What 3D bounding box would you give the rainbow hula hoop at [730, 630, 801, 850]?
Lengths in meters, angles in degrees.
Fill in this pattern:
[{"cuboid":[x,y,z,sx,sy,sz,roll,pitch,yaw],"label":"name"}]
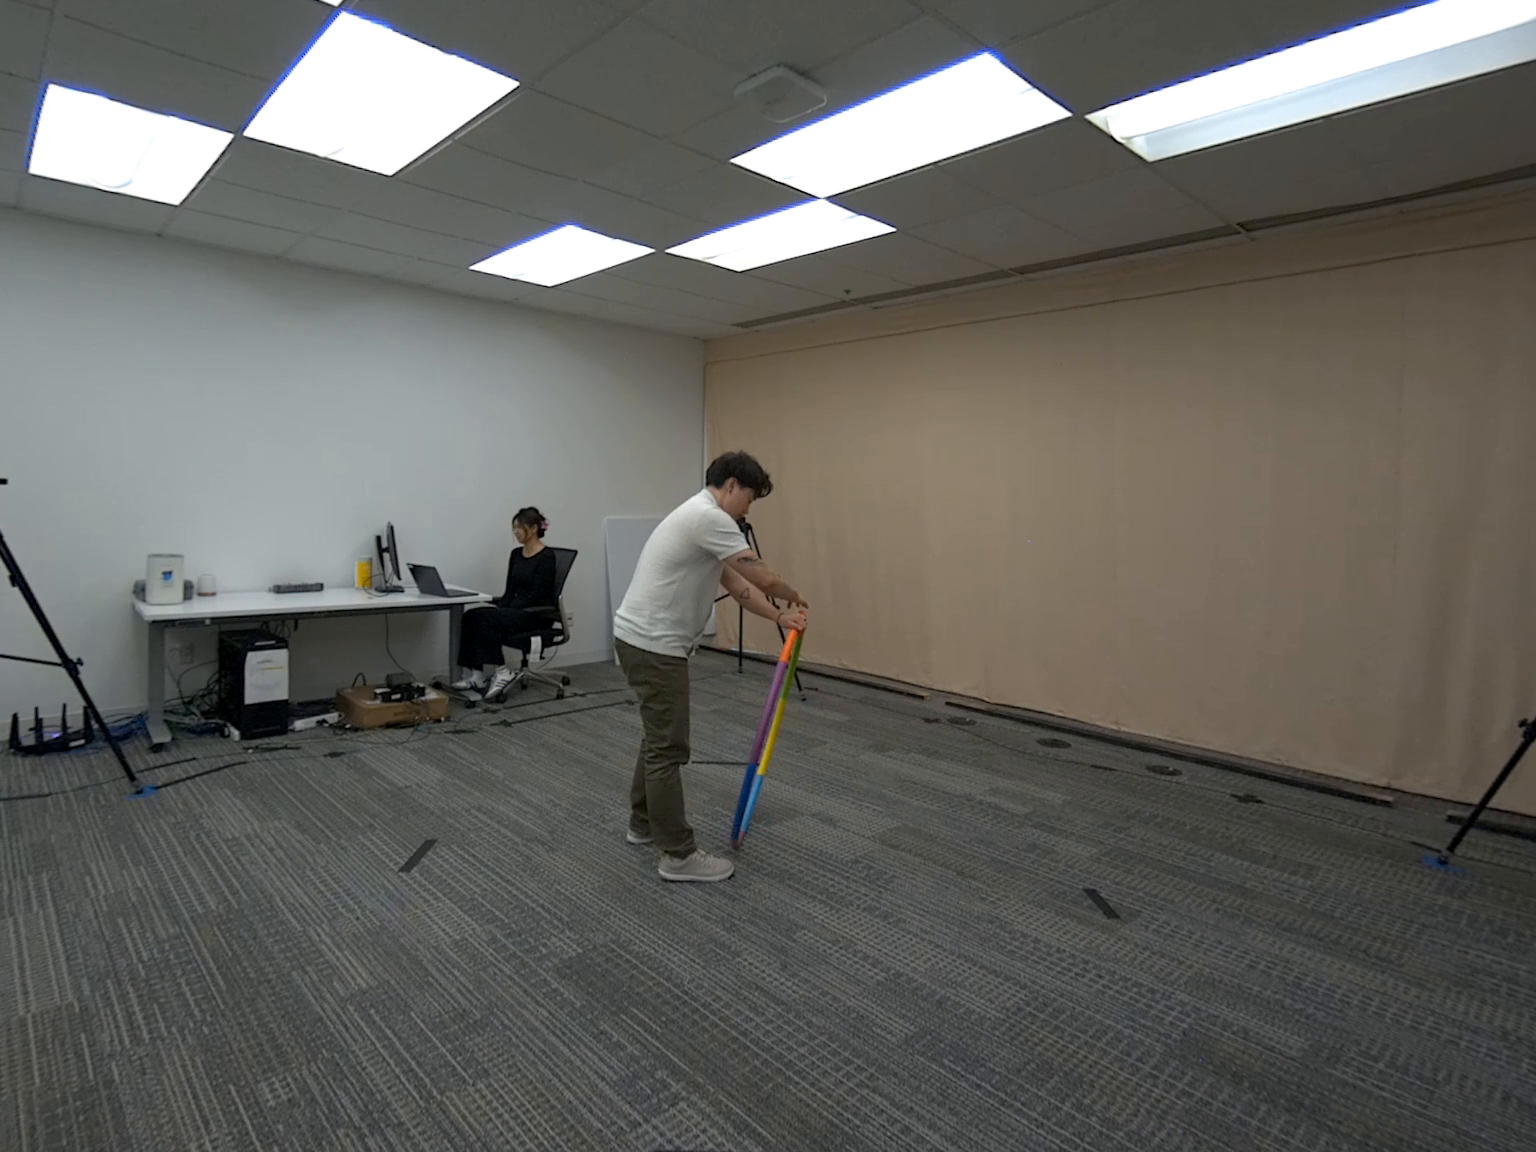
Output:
[{"cuboid":[0.003,0.615,3.430,0.036,0.976,0.975,17,6,4],"label":"rainbow hula hoop"}]
